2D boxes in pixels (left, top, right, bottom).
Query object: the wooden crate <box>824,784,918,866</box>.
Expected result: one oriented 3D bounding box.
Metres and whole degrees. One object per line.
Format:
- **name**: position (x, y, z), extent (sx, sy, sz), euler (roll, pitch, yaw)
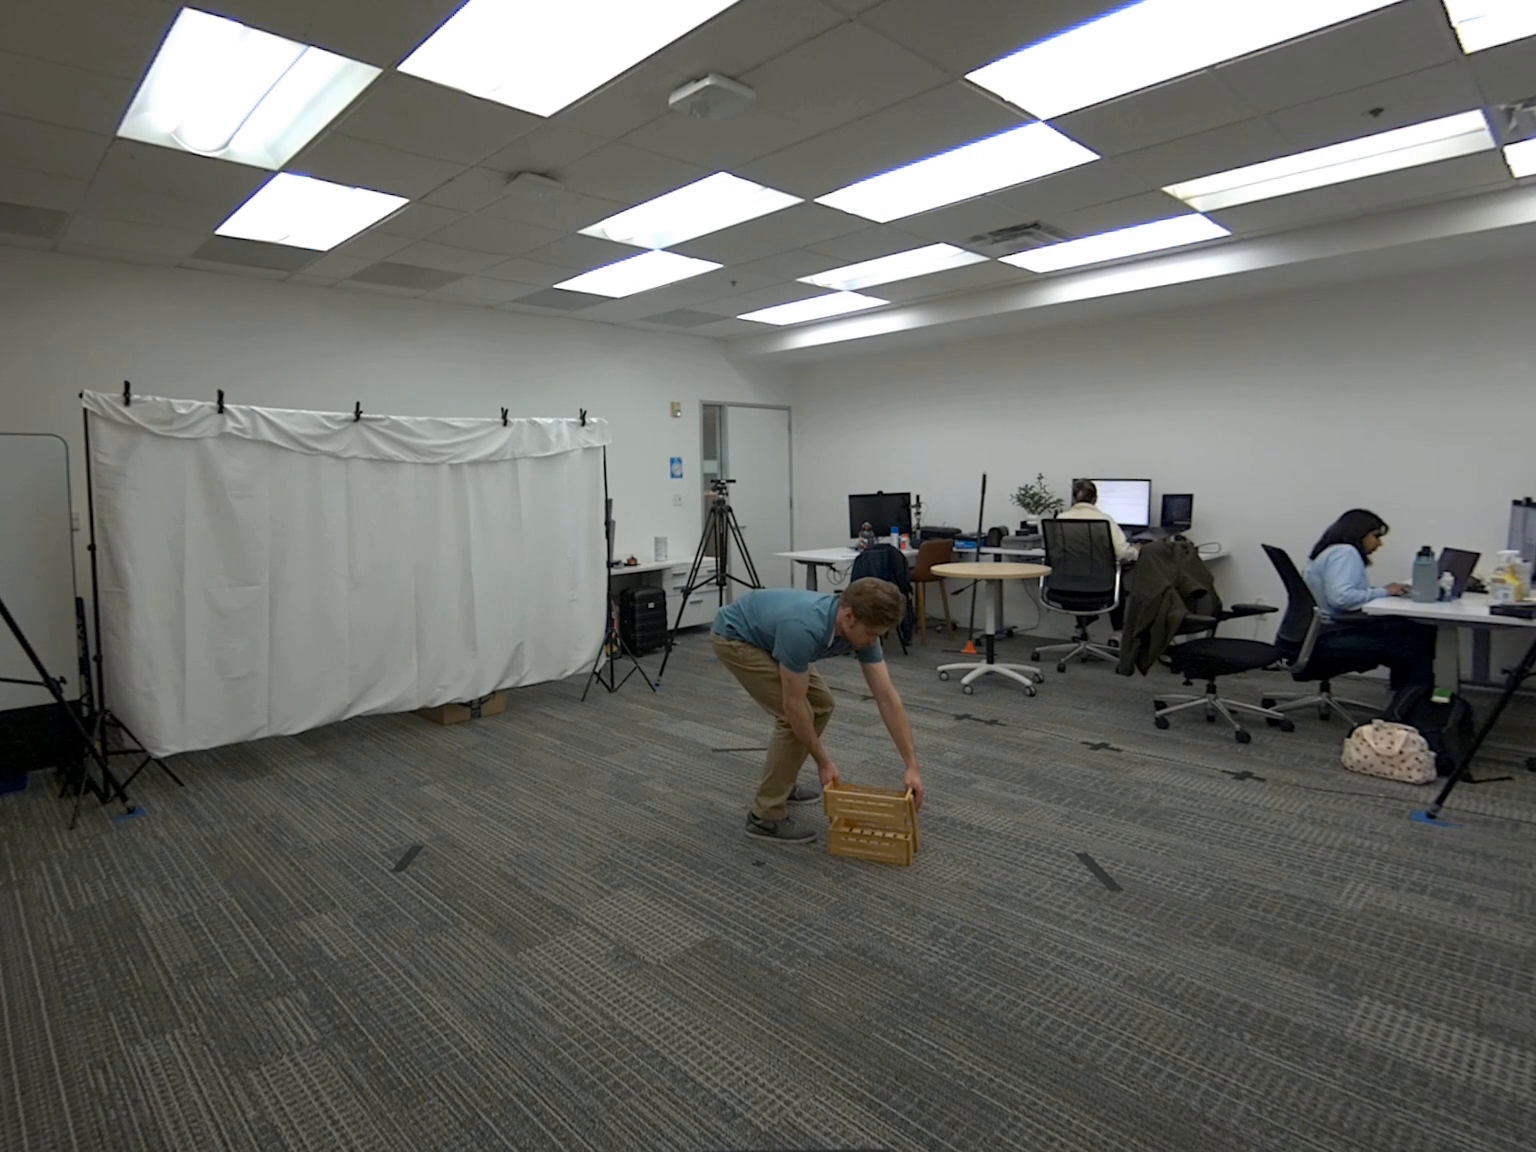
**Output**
- **wooden crate**: position (0.398, 0.898, 3.216), extent (0.330, 0.272, 0.298), euler (1, 6, 19)
